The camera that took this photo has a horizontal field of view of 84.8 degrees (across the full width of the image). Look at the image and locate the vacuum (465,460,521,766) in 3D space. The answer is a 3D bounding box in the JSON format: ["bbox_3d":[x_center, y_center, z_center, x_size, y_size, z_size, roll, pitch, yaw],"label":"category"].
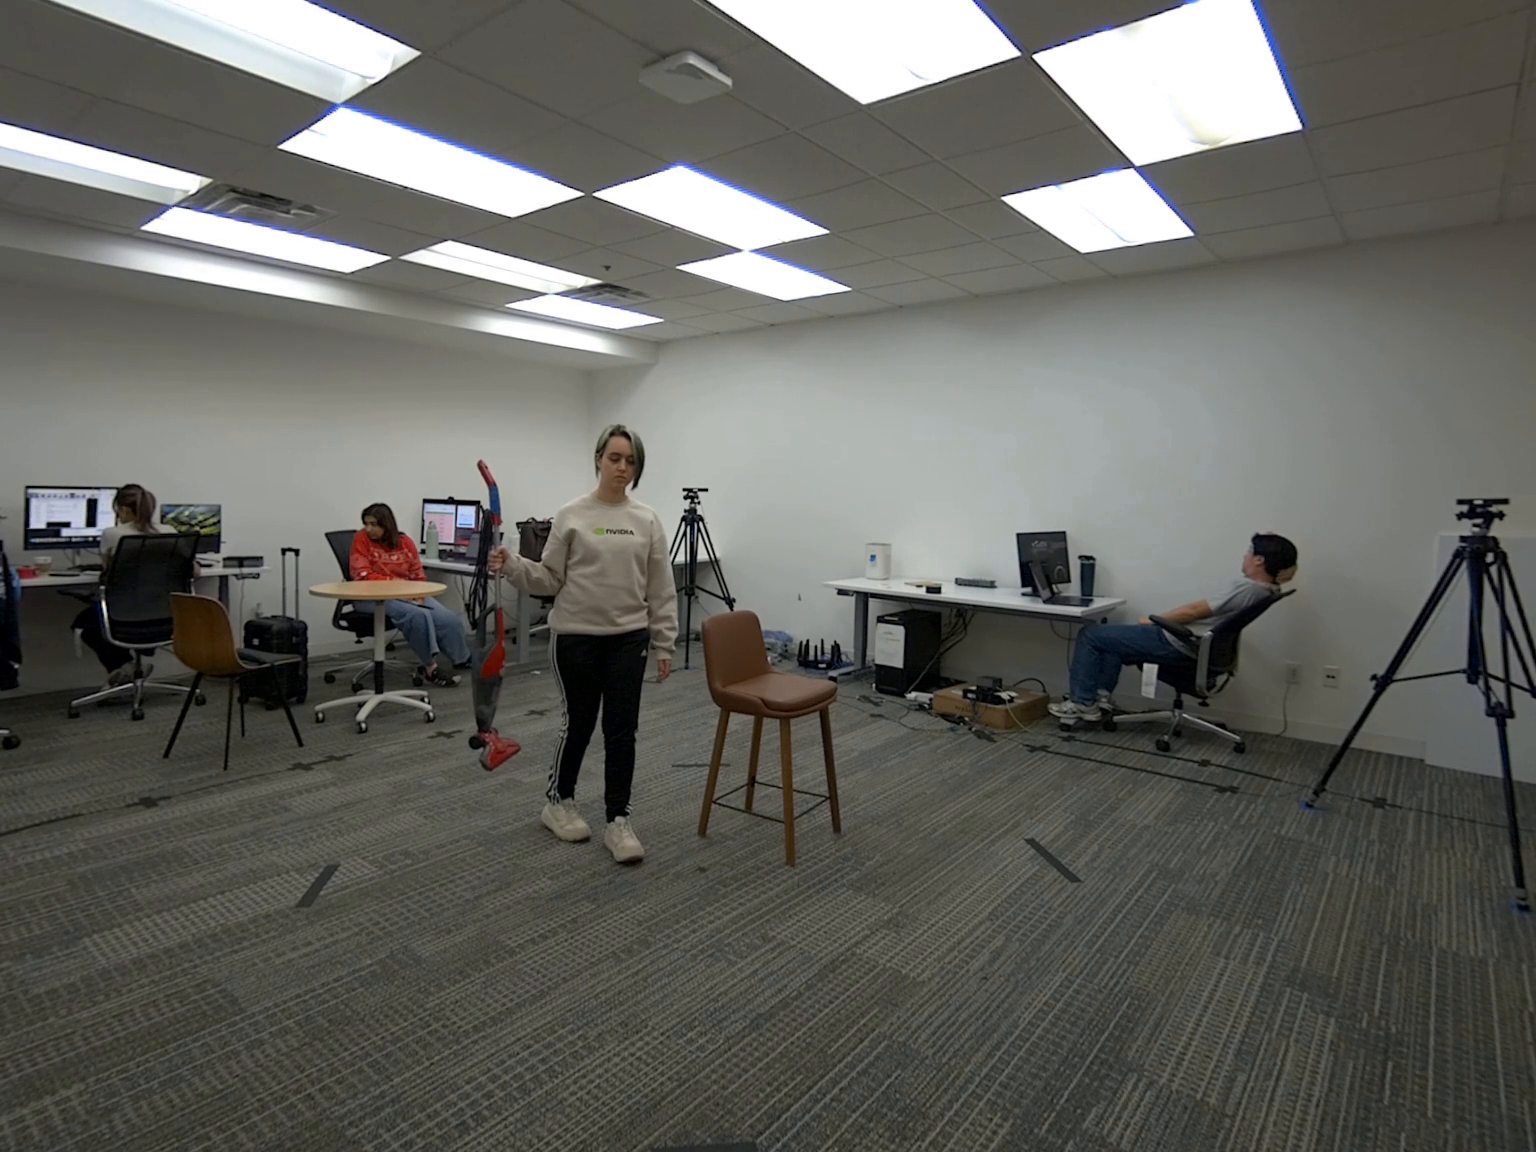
[{"bbox_3d":[-1.050,0.113,3.102,0.145,1.047,0.251,-3,2,7],"label":"vacuum"}]
